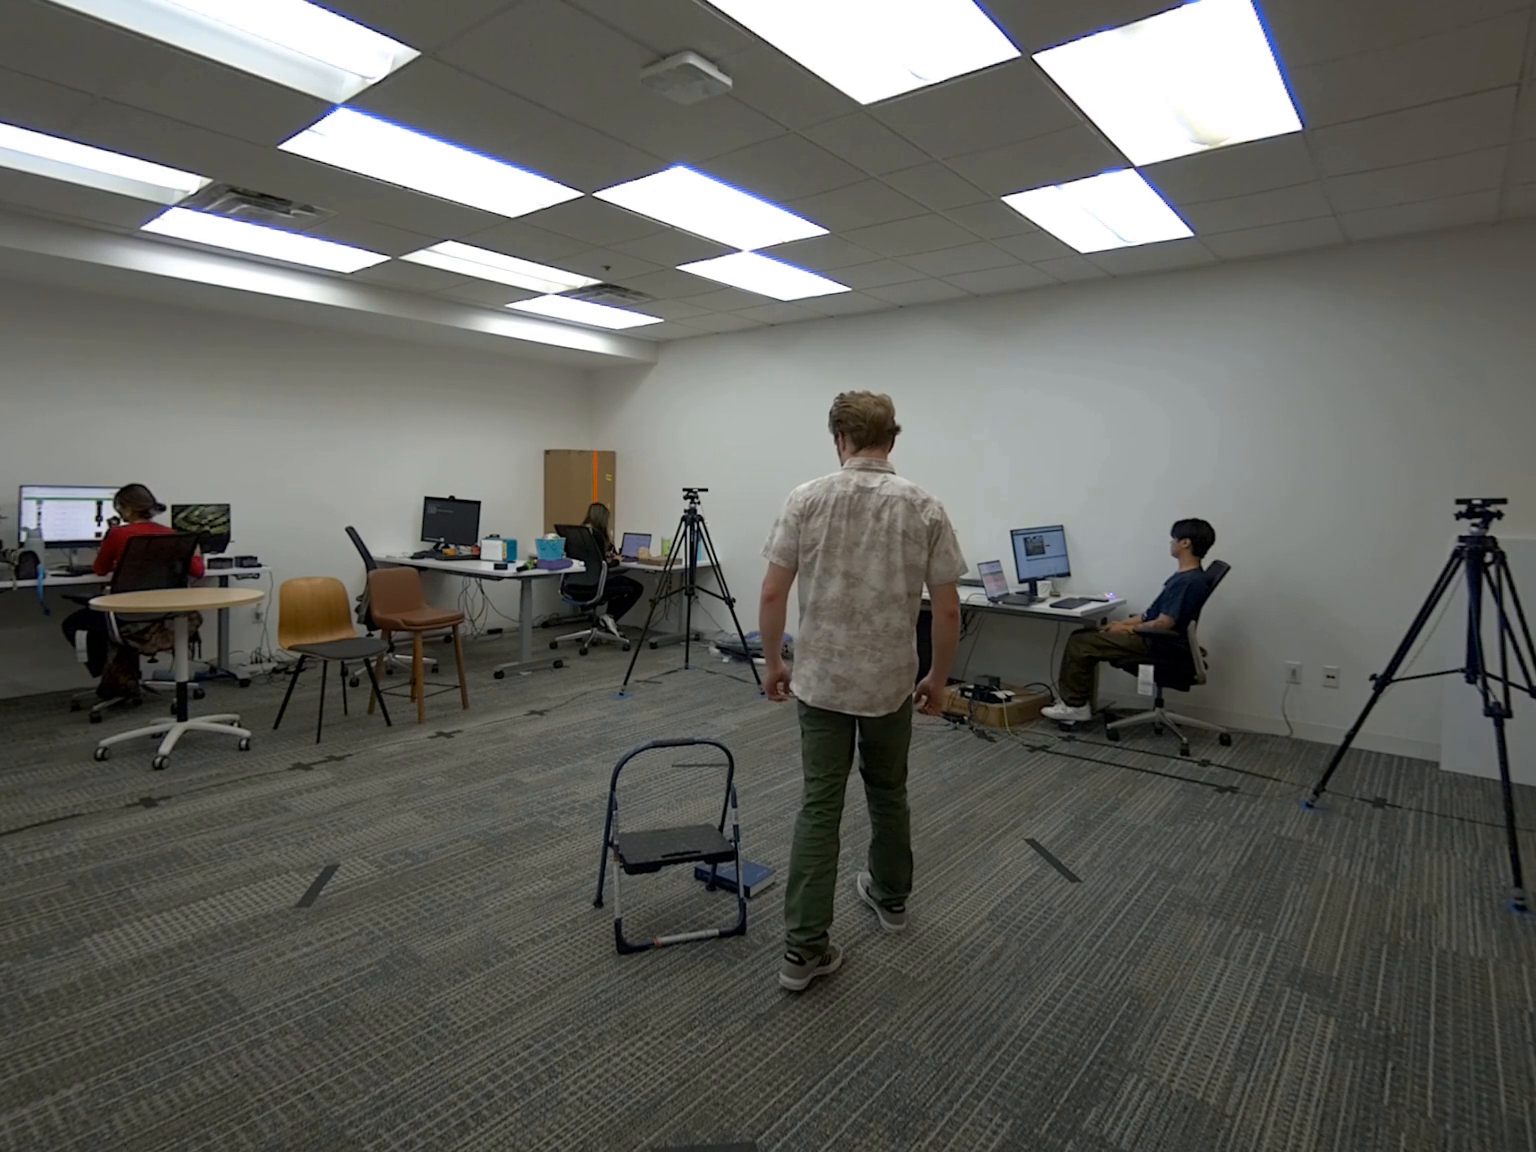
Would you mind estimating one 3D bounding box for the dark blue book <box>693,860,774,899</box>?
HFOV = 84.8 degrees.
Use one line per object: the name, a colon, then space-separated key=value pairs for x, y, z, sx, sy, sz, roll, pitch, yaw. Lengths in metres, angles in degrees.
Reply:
dark blue book: x=-0.124 y=1.054 z=3.019 sx=0.253 sy=0.045 sz=0.159 roll=5 pitch=6 yaw=36
